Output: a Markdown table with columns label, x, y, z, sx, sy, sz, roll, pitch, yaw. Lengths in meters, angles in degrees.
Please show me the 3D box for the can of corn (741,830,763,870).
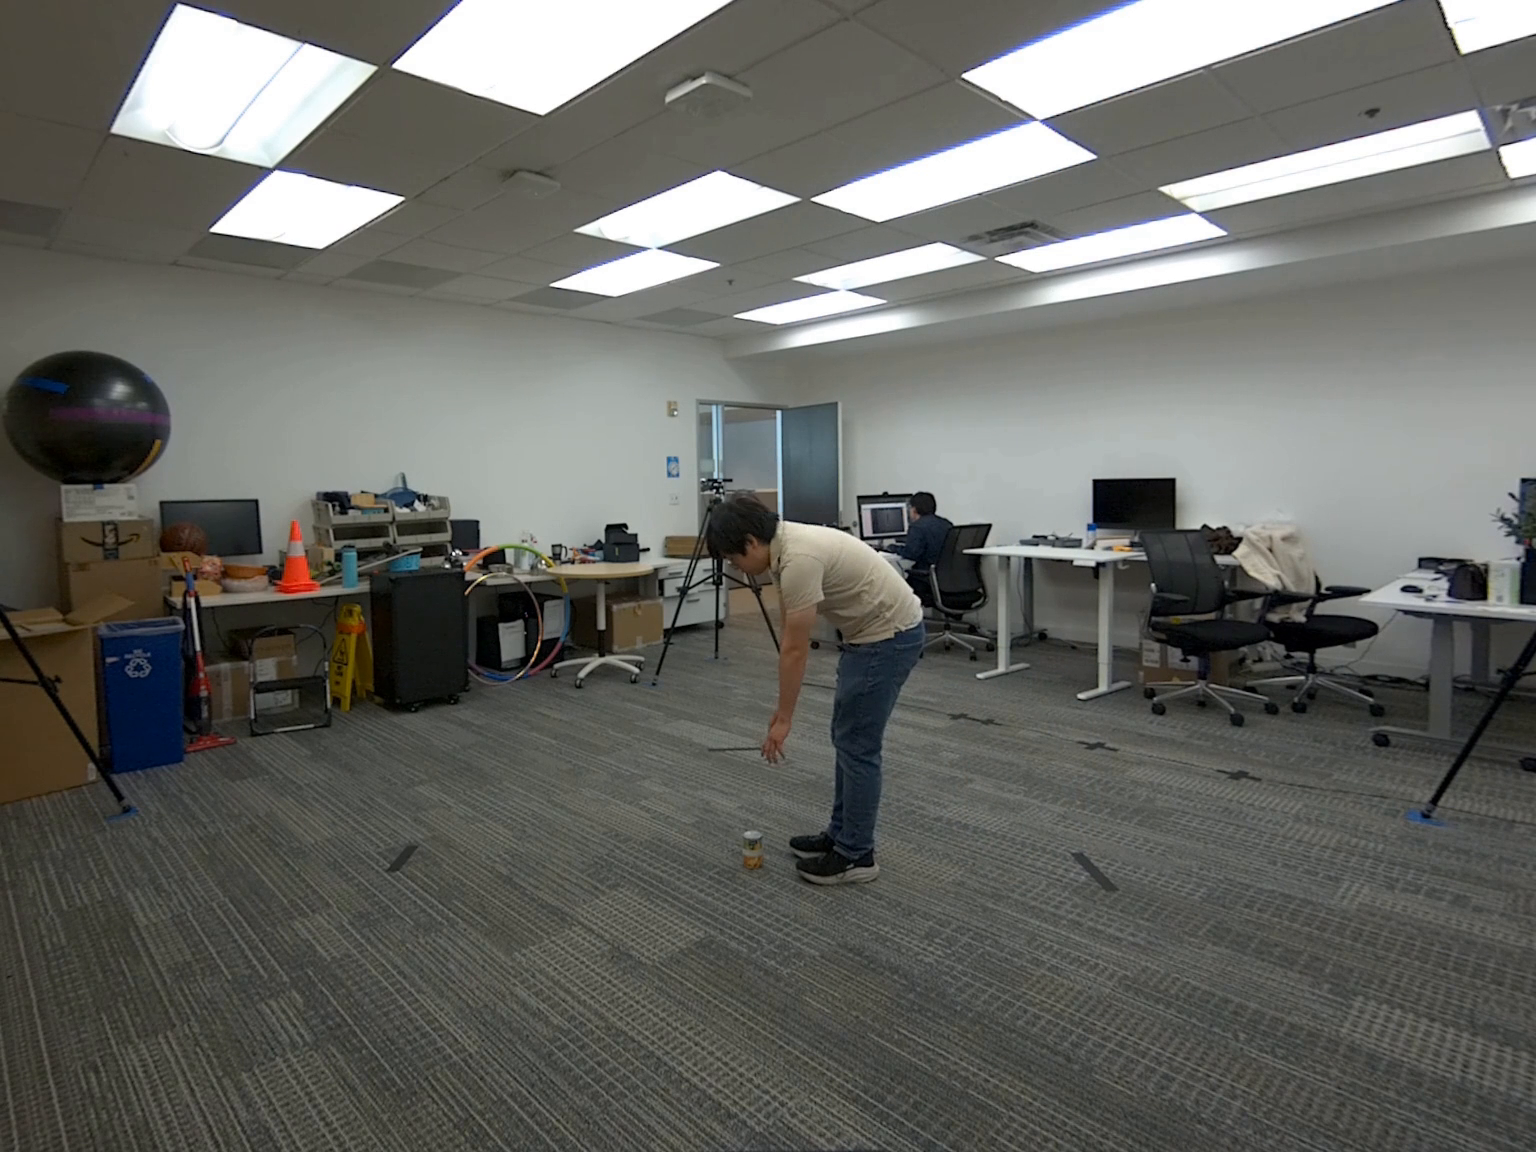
| label | x | y | z | sx | sy | sz | roll | pitch | yaw |
| --- | --- | --- | --- | --- | --- | --- | --- | --- | --- |
| can of corn | -0.053 | 0.999 | 3.097 | 0.074 | 0.111 | 0.074 | -2 | 1 | -2 |
